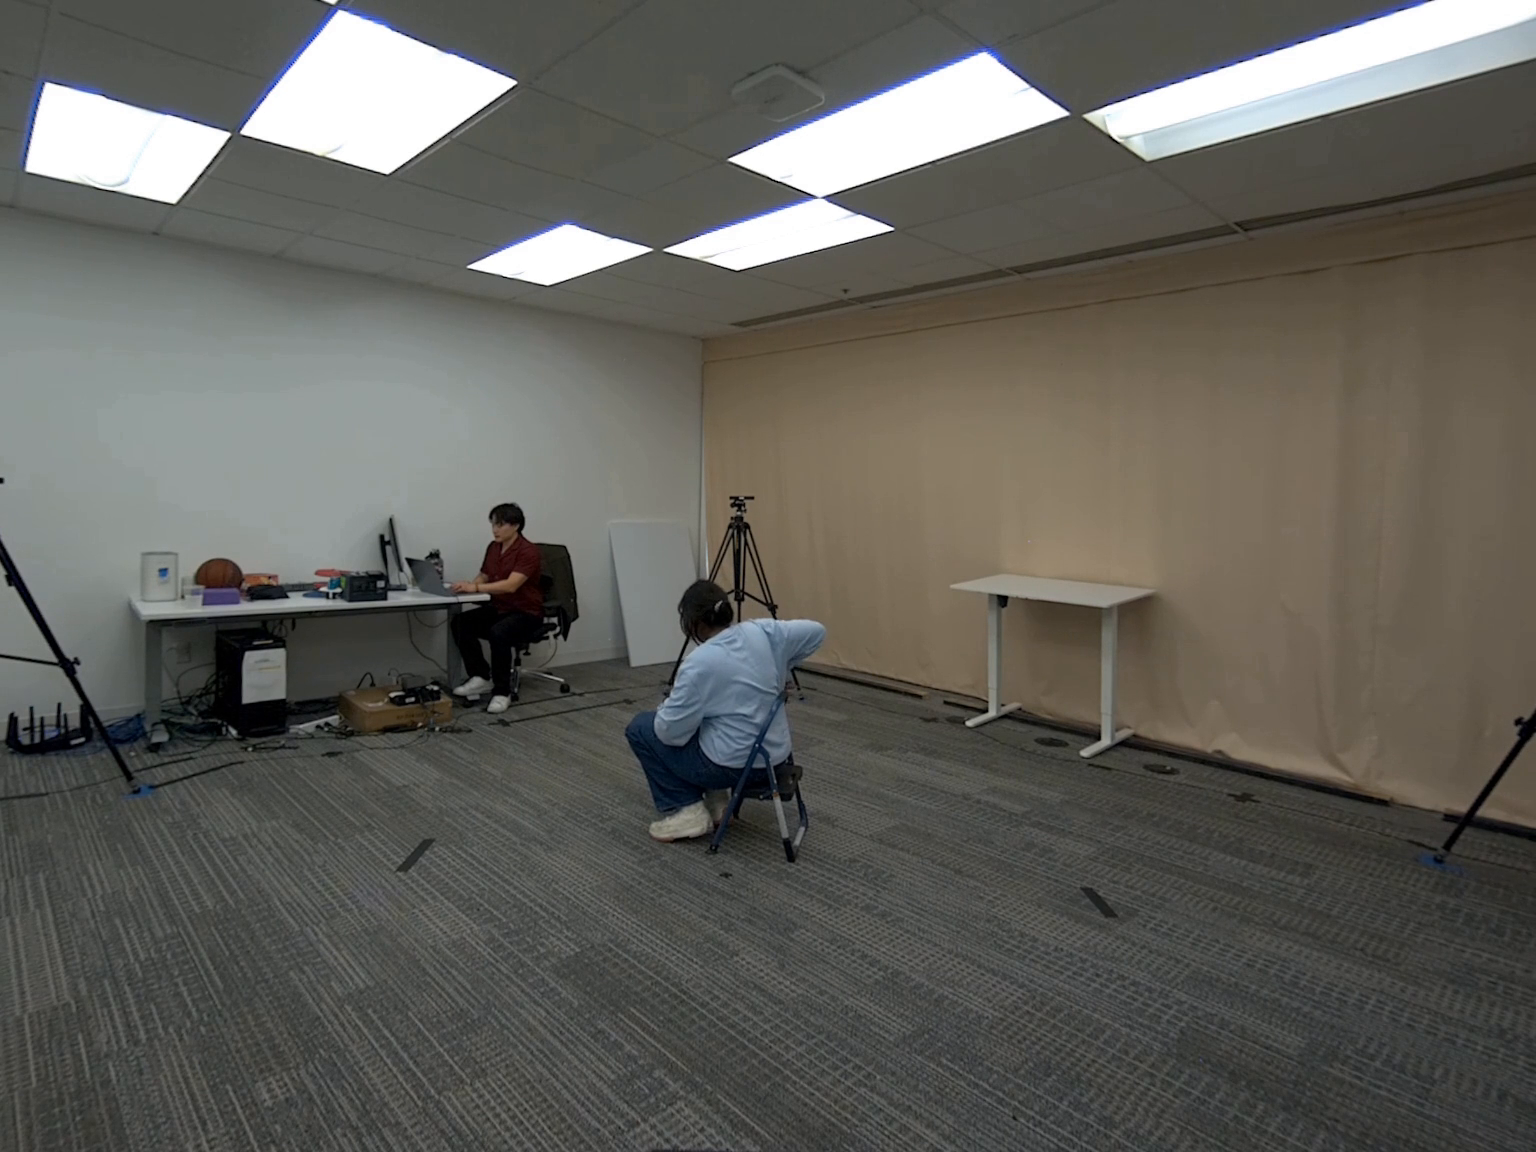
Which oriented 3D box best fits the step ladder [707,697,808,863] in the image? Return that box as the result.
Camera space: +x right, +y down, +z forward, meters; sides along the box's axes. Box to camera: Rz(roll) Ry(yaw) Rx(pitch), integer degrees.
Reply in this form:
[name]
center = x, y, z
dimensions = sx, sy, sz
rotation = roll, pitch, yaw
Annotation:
[step ladder]
center = -0.022, 0.784, 3.436
dimensions = 0.352, 0.604, 0.428
rotation = 2, 5, 10
